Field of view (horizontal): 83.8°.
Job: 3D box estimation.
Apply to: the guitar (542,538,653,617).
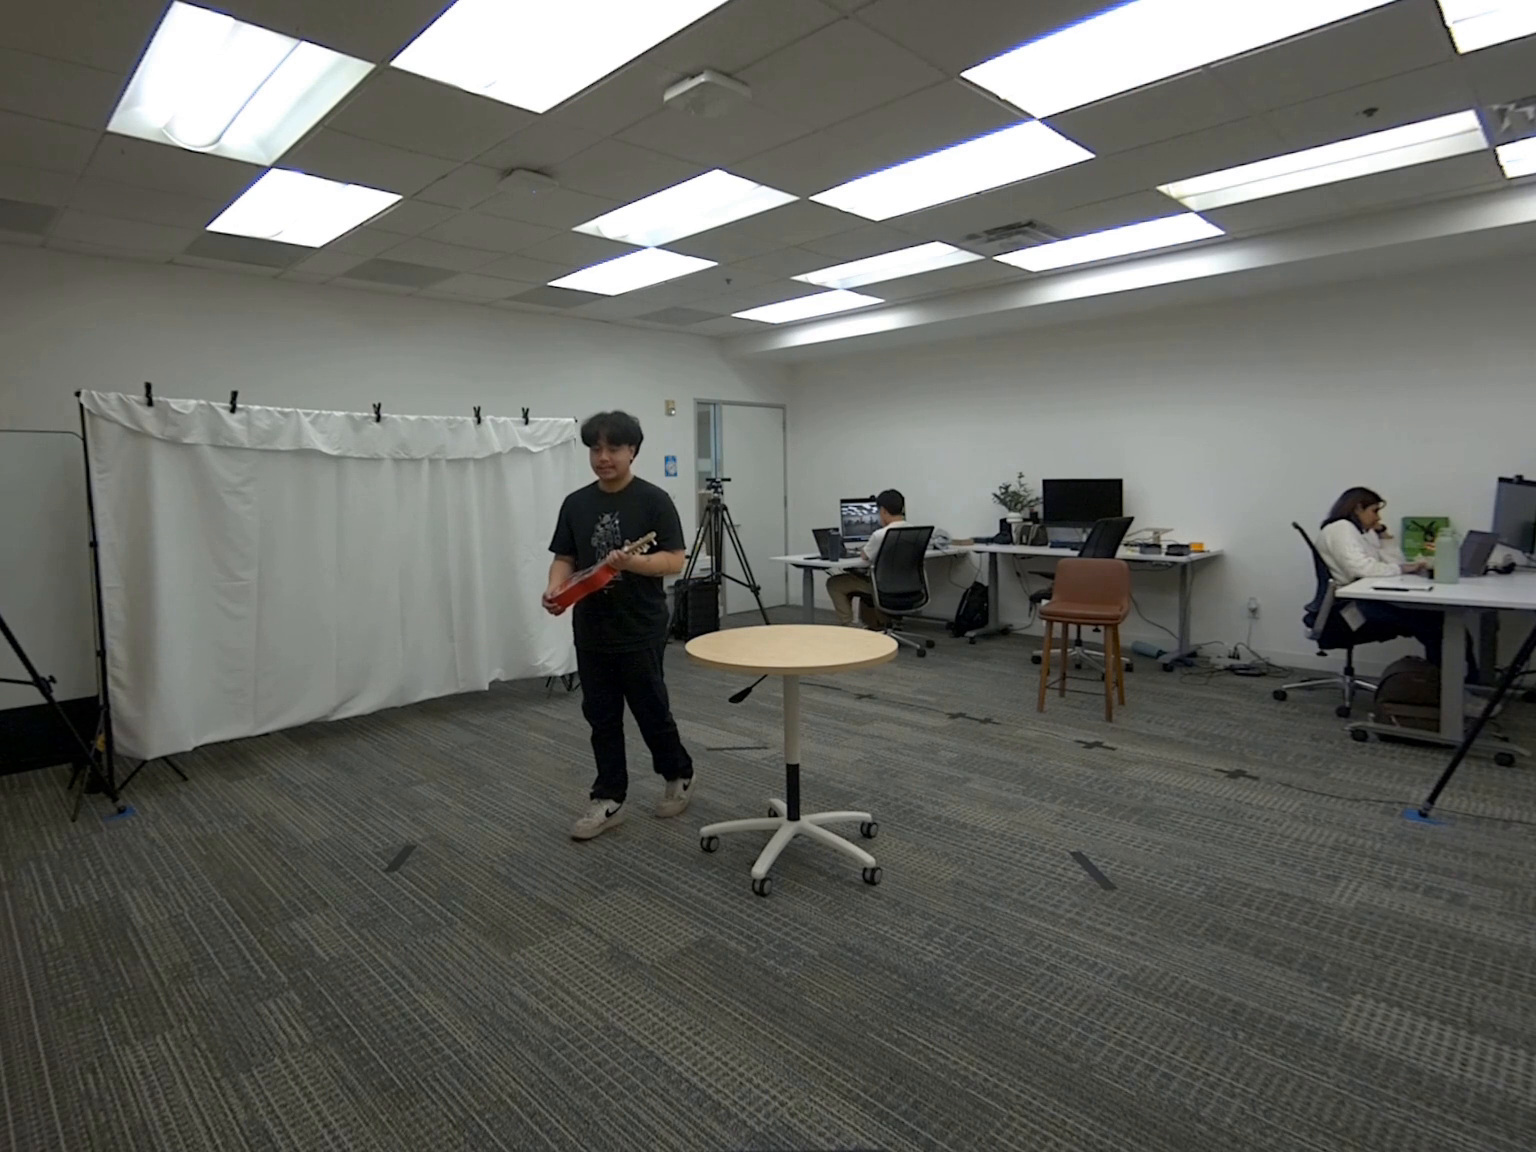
[{"bbox_3d":[-0.599,-0.010,3.137,0.504,0.069,0.193,-24,18,34],"label":"guitar"}]
